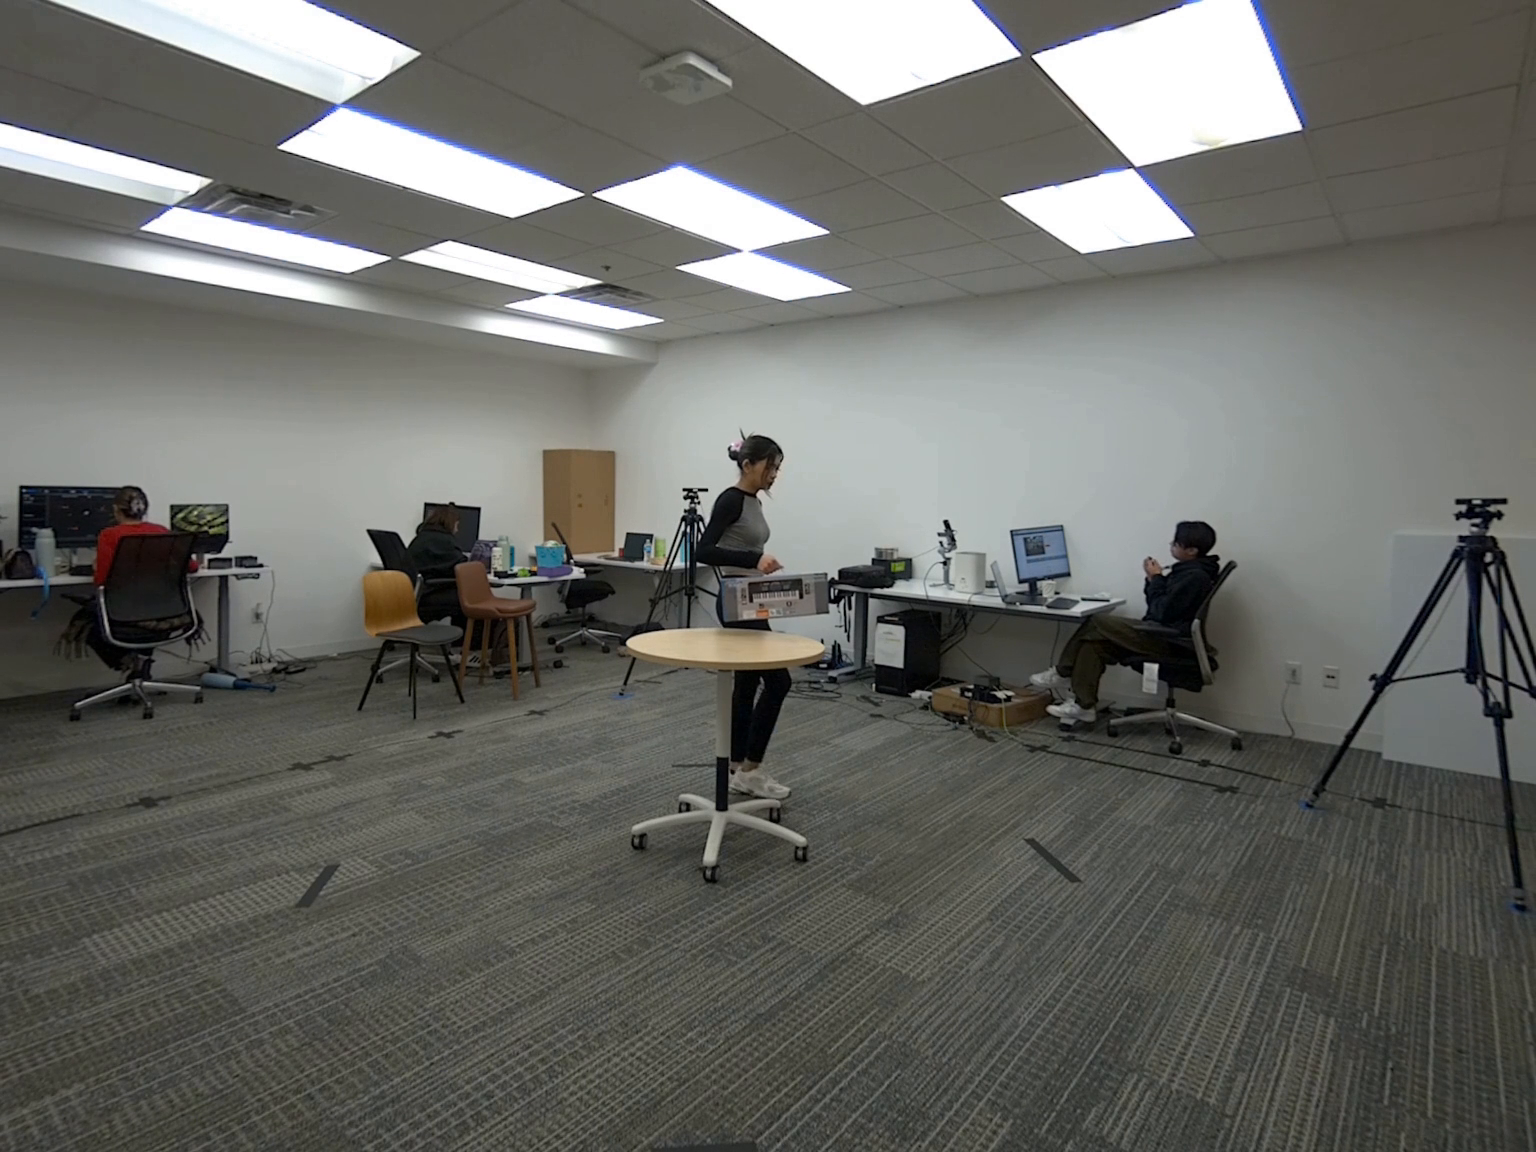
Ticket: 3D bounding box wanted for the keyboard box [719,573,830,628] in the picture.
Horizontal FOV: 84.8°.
[{"bbox_3d":[0.024,0.080,3.518,0.435,0.175,0.059,-5,3,-5],"label":"keyboard box"}]
